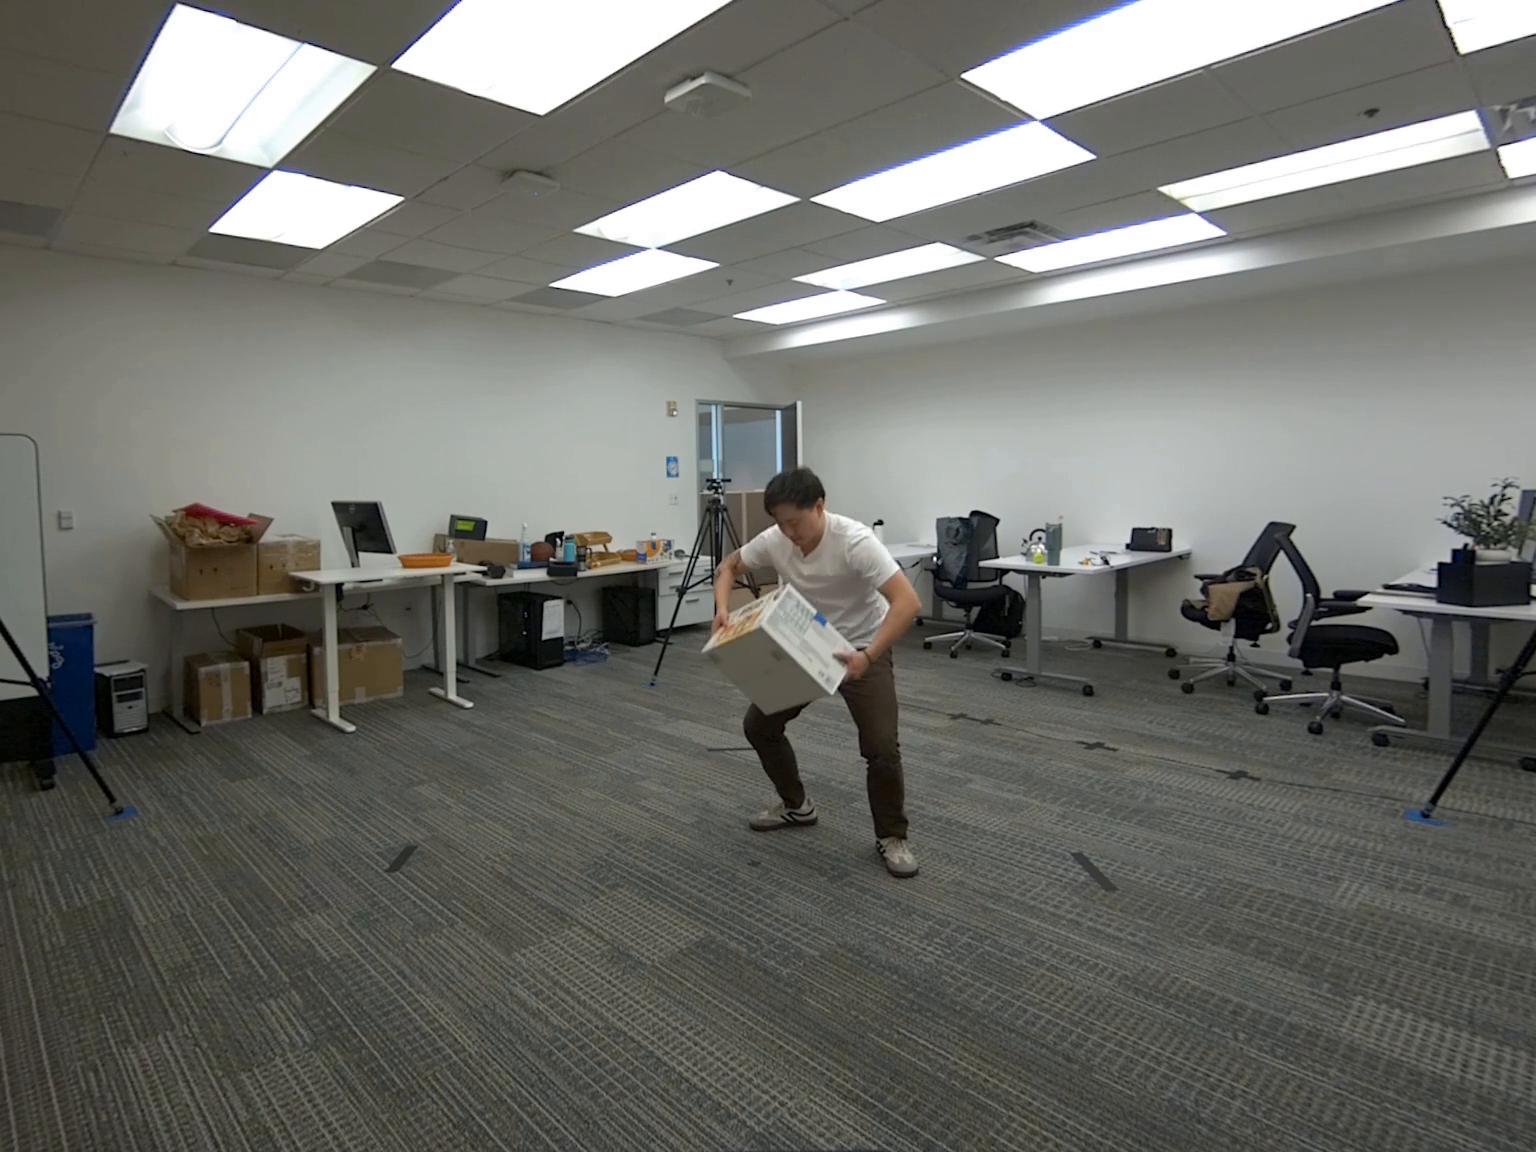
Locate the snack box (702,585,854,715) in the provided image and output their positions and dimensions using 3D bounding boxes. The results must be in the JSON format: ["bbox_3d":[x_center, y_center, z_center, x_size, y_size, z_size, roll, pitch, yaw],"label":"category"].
[{"bbox_3d":[0.039,0.270,2.972,0.206,0.336,0.409,-52,12,-35],"label":"snack box"}]
